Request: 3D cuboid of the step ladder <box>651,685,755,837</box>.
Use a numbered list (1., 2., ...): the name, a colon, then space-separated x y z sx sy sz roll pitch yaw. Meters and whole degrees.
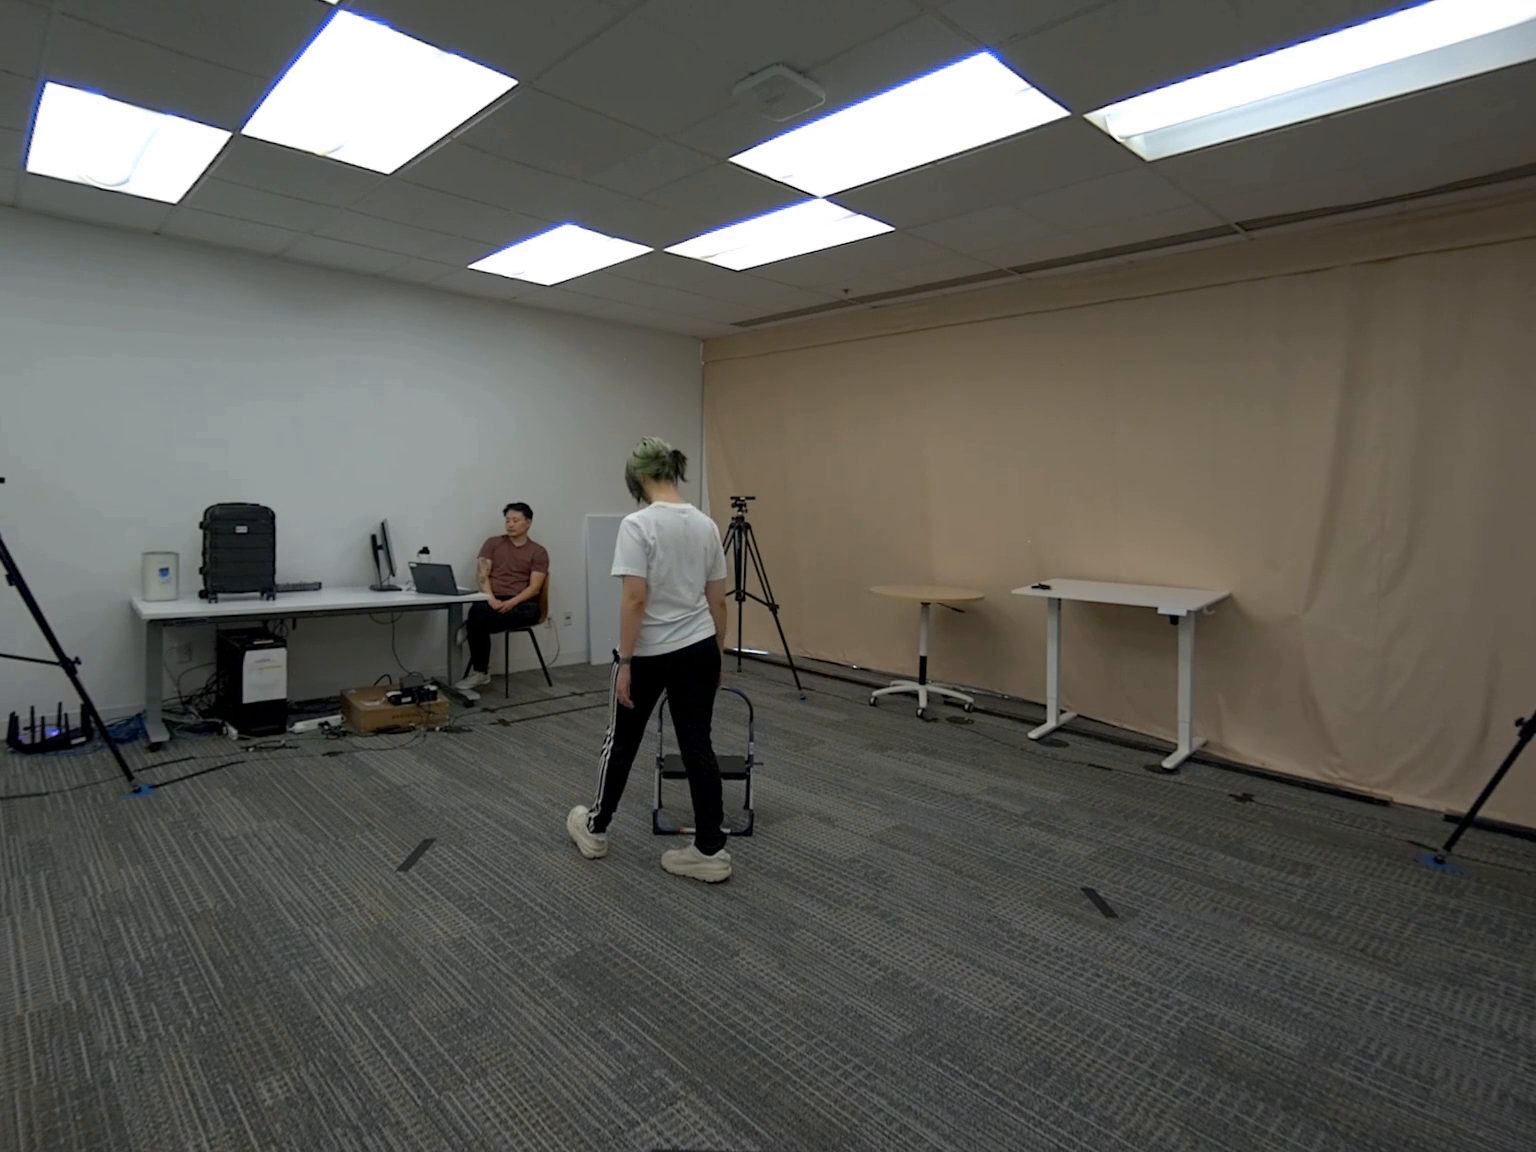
1. step ladder: -0.278 0.756 3.622 0.429 0.605 0.351 1 3 -4
